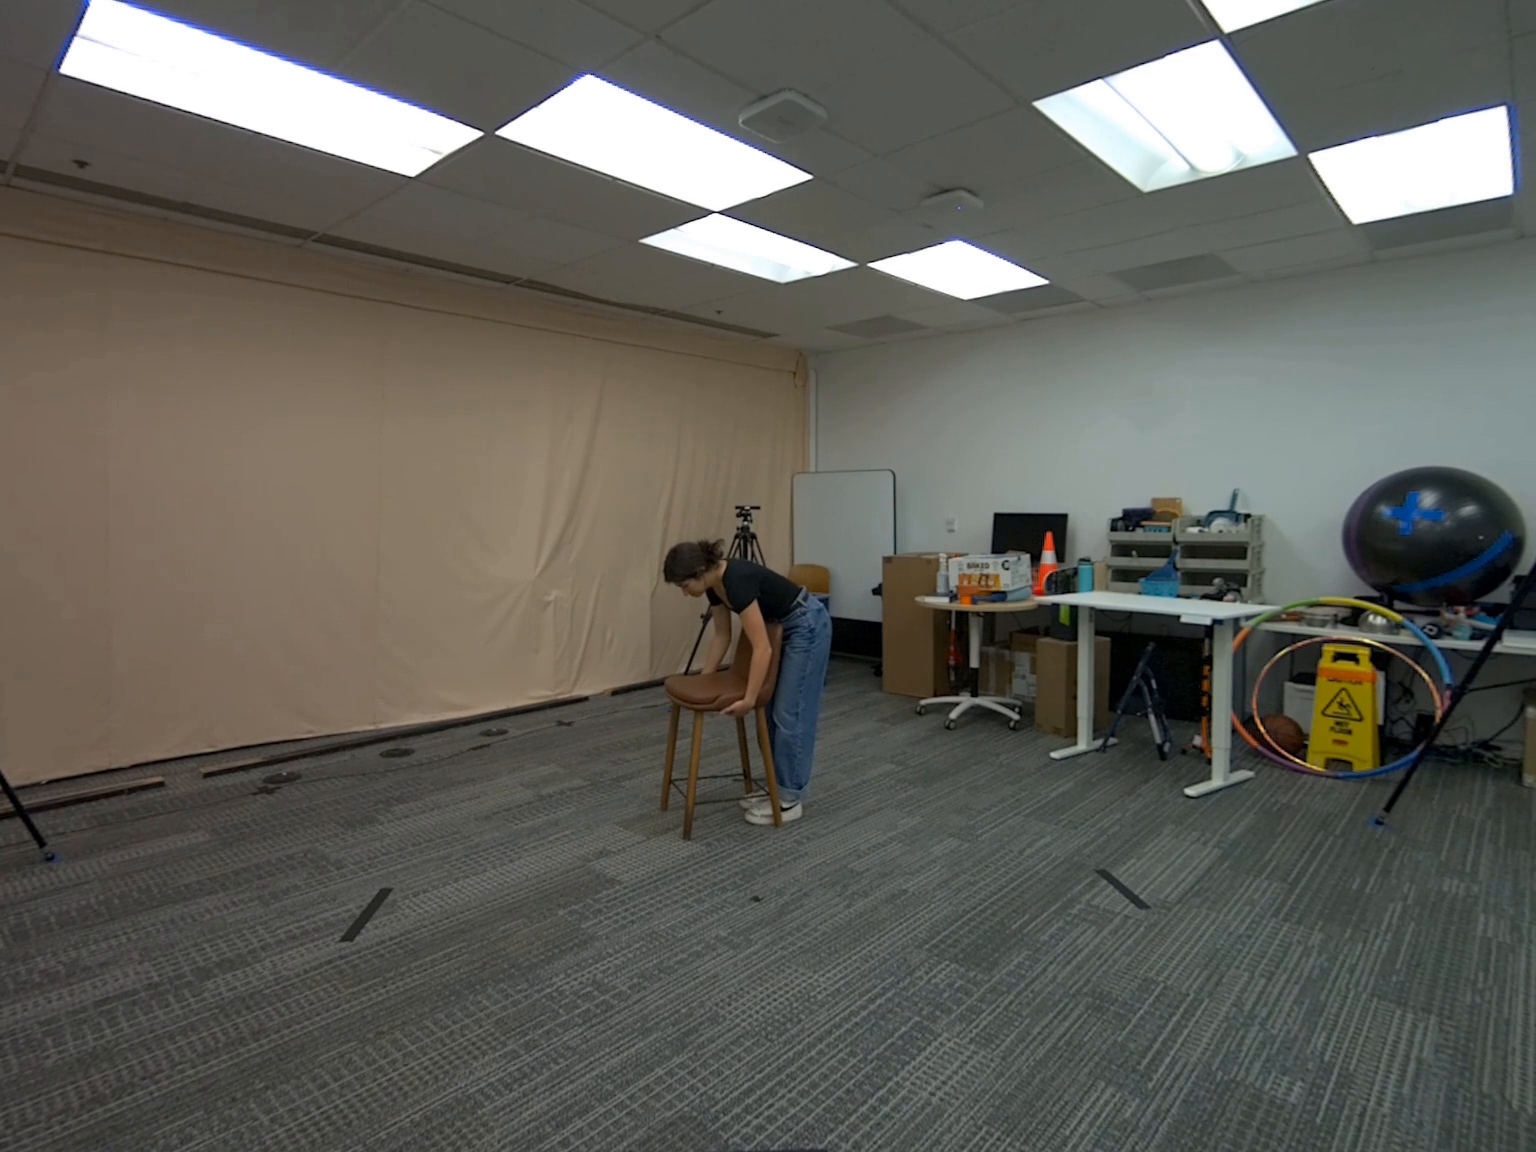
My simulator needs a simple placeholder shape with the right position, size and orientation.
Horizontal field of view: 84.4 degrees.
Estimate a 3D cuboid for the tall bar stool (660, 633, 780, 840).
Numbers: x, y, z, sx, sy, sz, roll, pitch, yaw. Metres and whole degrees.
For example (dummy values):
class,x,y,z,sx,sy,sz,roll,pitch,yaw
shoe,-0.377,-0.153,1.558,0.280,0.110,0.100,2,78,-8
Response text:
class,x,y,z,sx,sy,sz,roll,pitch,yaw
tall bar stool,-0.215,0.646,3.746,0.458,0.888,0.467,0,3,-20
